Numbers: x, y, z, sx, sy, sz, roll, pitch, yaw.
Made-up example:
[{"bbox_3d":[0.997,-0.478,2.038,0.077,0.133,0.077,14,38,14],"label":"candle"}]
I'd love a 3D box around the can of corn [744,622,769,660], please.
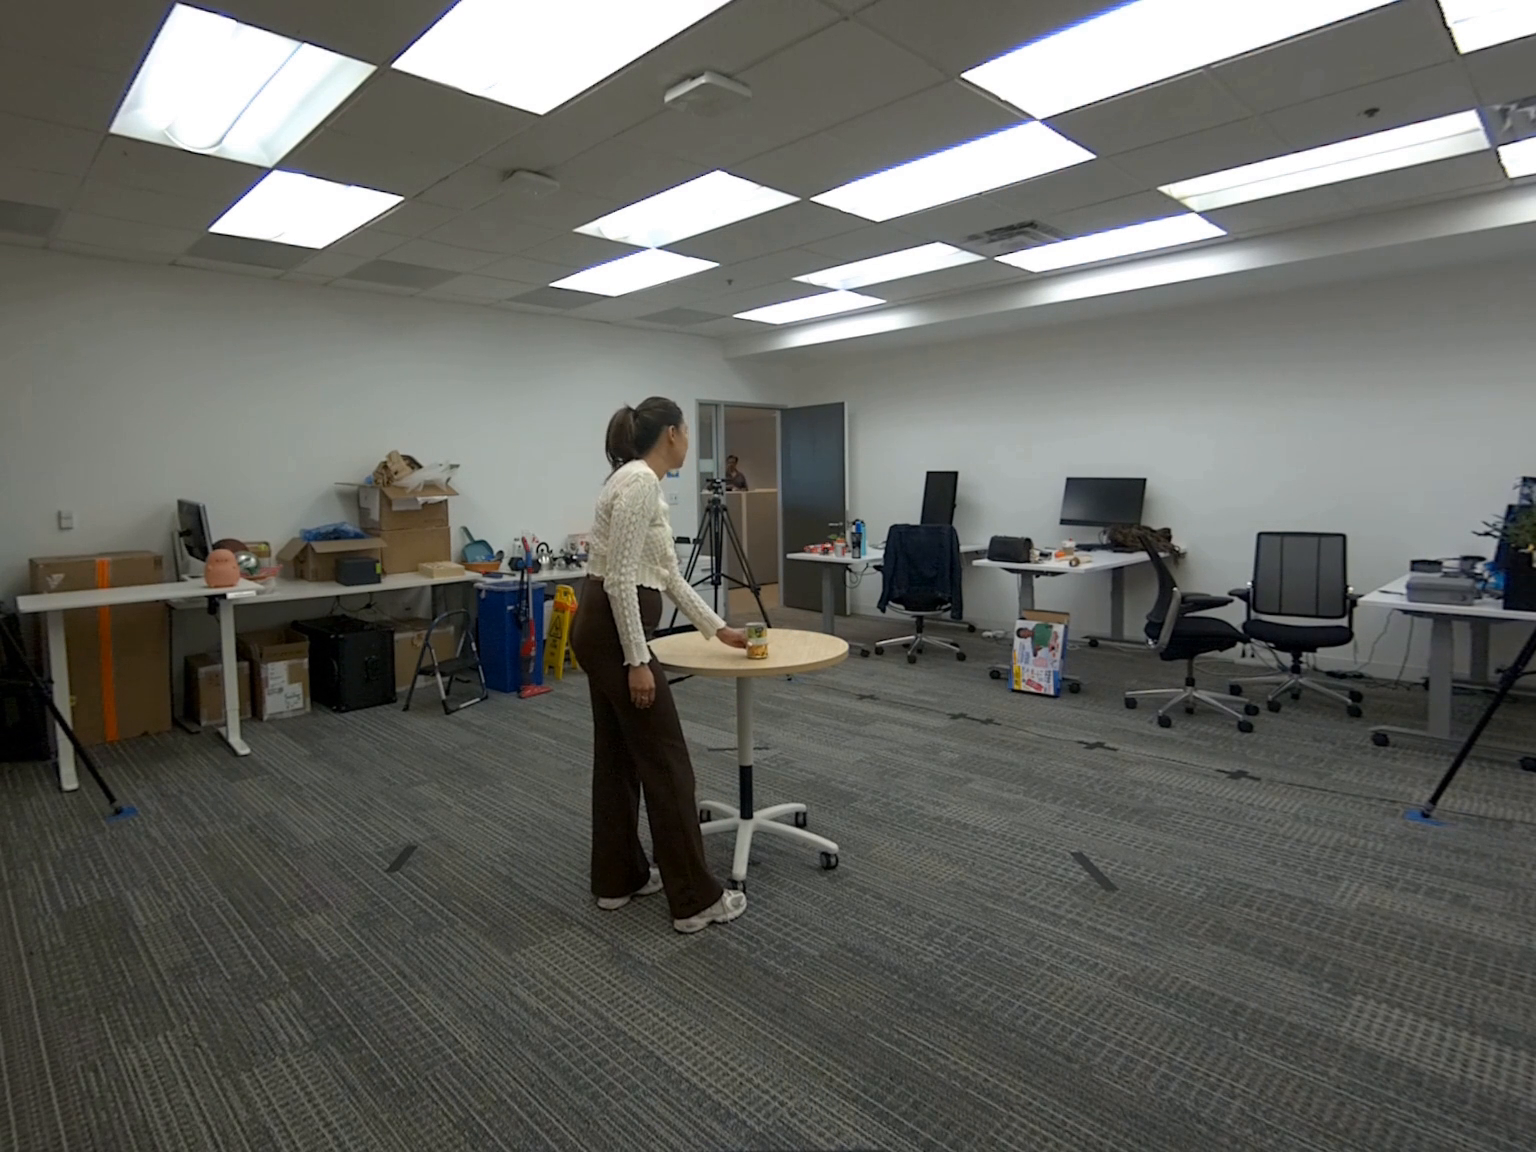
[{"bbox_3d":[-0.045,0.217,2.925,0.074,0.110,0.074,-4,4,-1],"label":"can of corn"}]
